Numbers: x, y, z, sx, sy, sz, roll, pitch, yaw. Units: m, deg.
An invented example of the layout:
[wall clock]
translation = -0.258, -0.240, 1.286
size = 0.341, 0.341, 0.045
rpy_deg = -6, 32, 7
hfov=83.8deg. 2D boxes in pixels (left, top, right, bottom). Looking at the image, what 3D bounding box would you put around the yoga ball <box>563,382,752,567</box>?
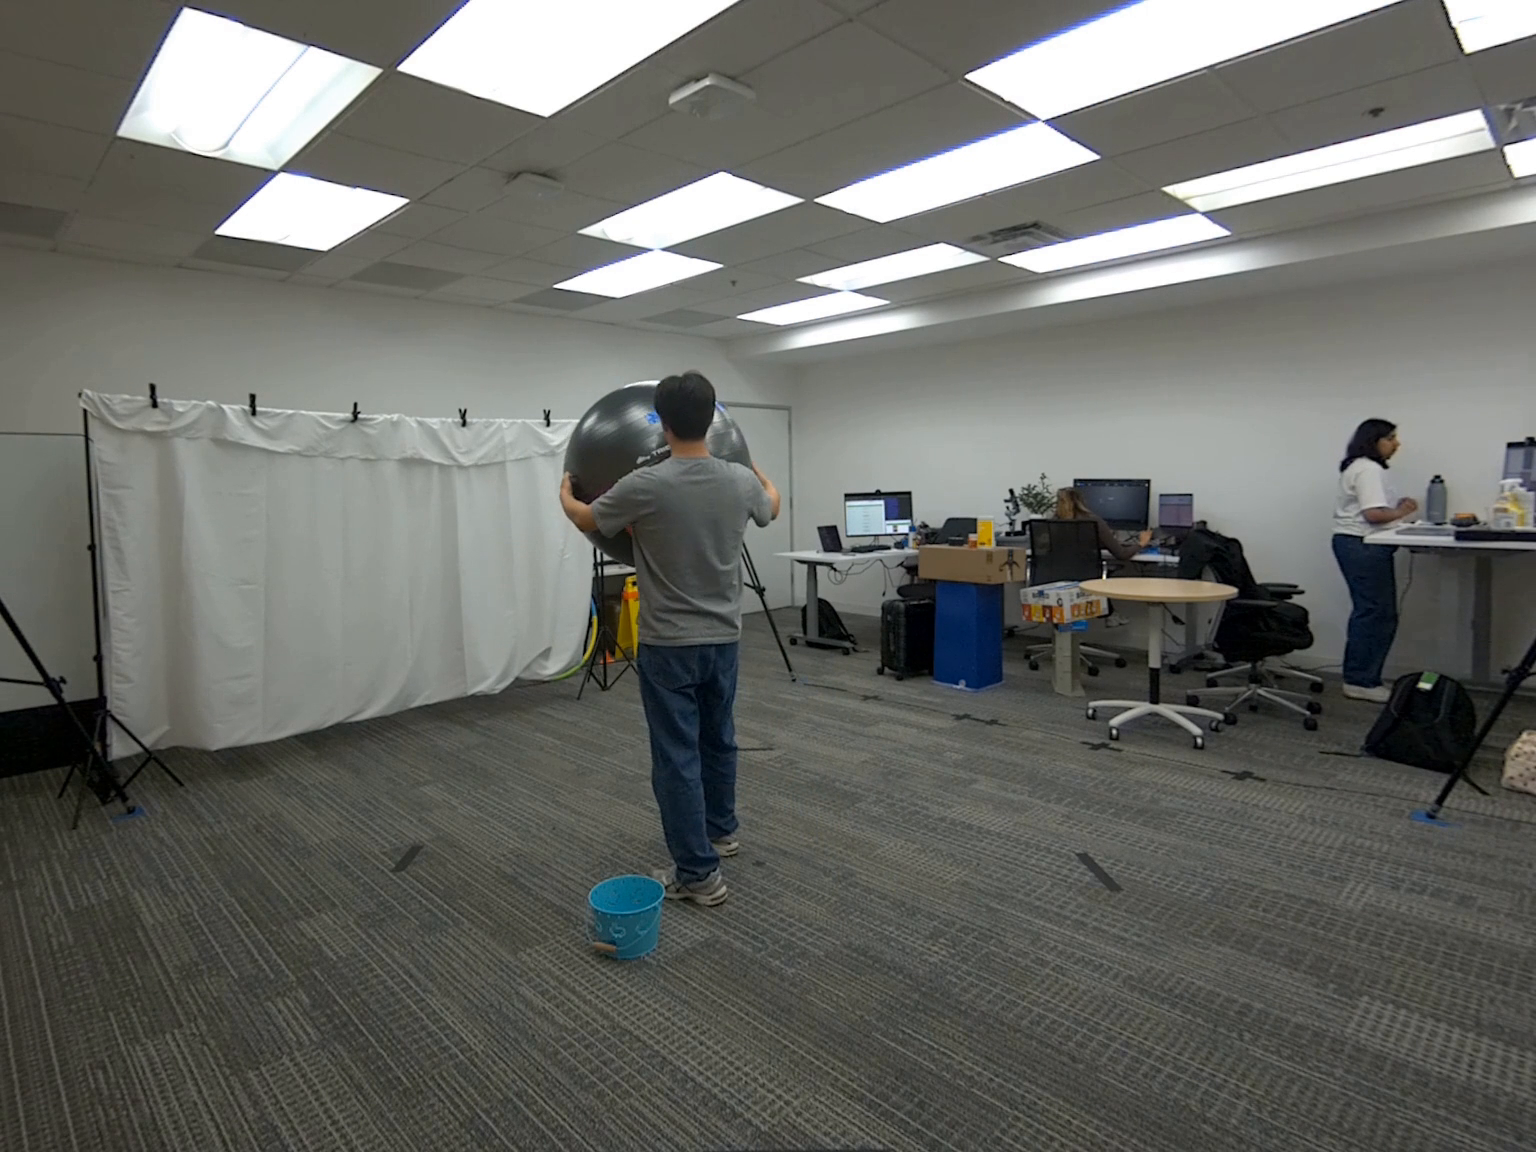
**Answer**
[yoga ball]
translation = -0.464, -0.393, 3.440
size = 0.757, 0.755, 0.762
rpy_deg = -1, 5, -2
